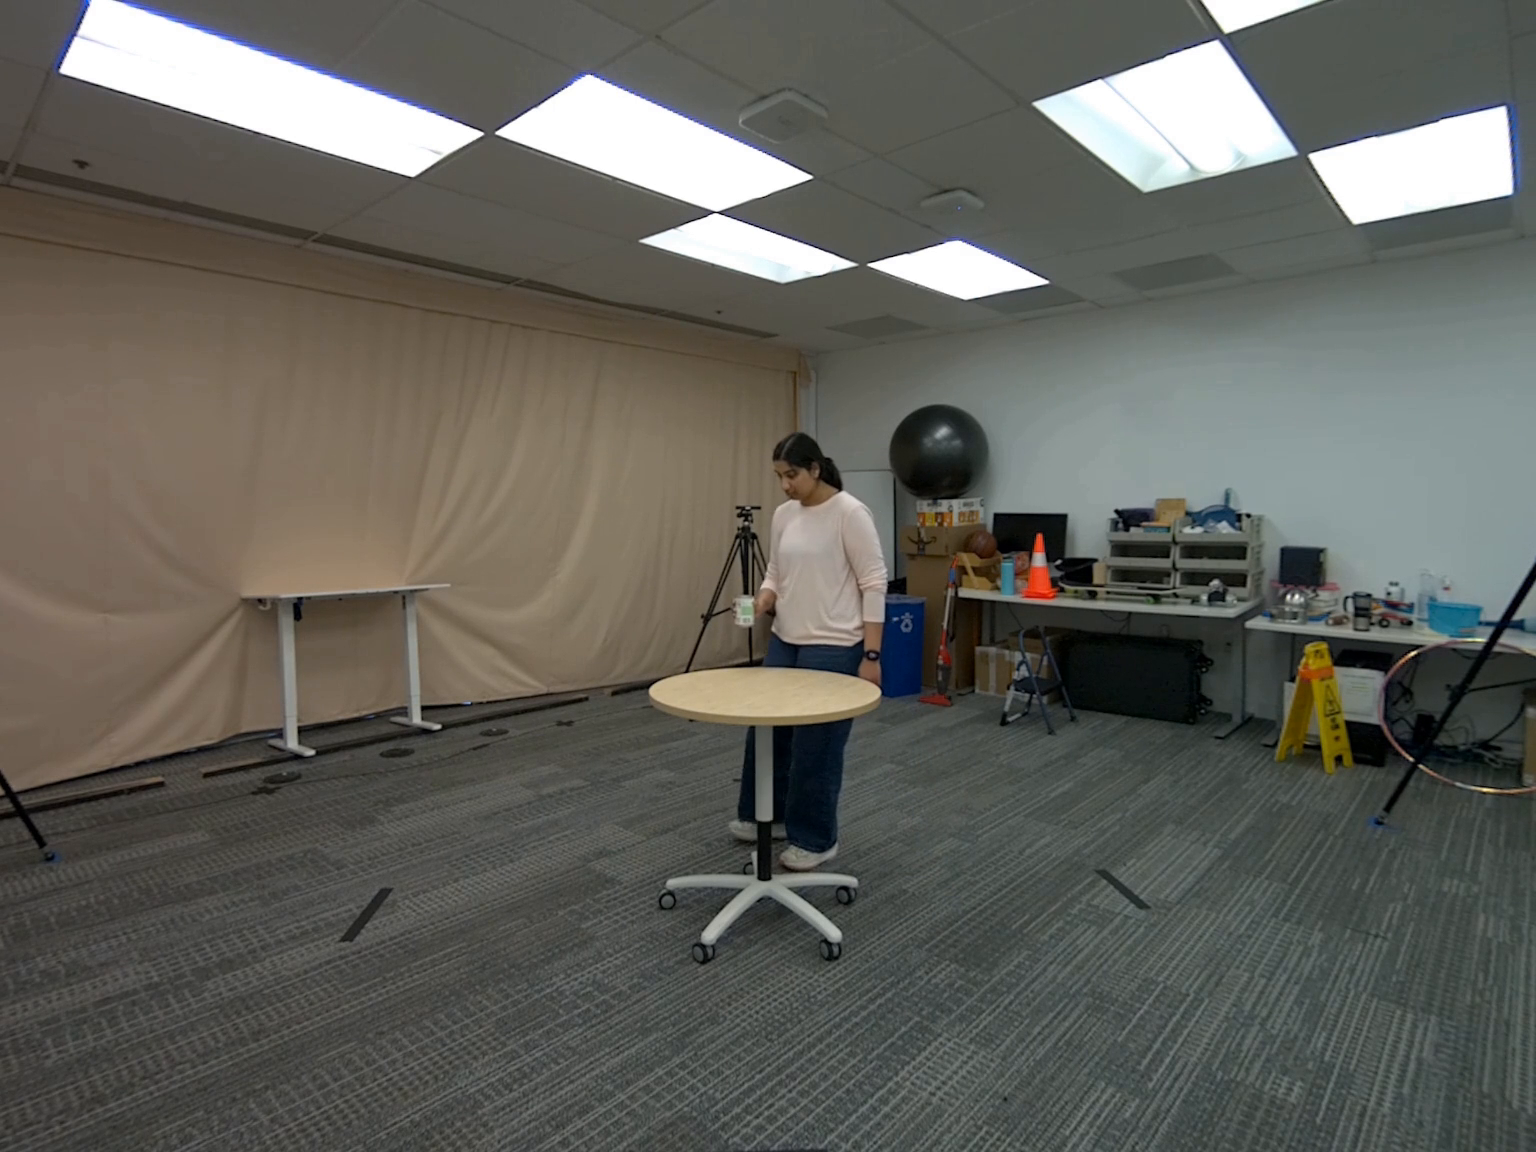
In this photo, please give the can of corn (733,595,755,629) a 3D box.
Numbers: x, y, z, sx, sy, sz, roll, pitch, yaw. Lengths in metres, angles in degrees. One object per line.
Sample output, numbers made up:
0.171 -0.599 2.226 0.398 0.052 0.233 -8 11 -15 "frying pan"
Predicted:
-0.089 0.136 3.172 0.074 0.111 0.074 0 -1 -2 "can of corn"
